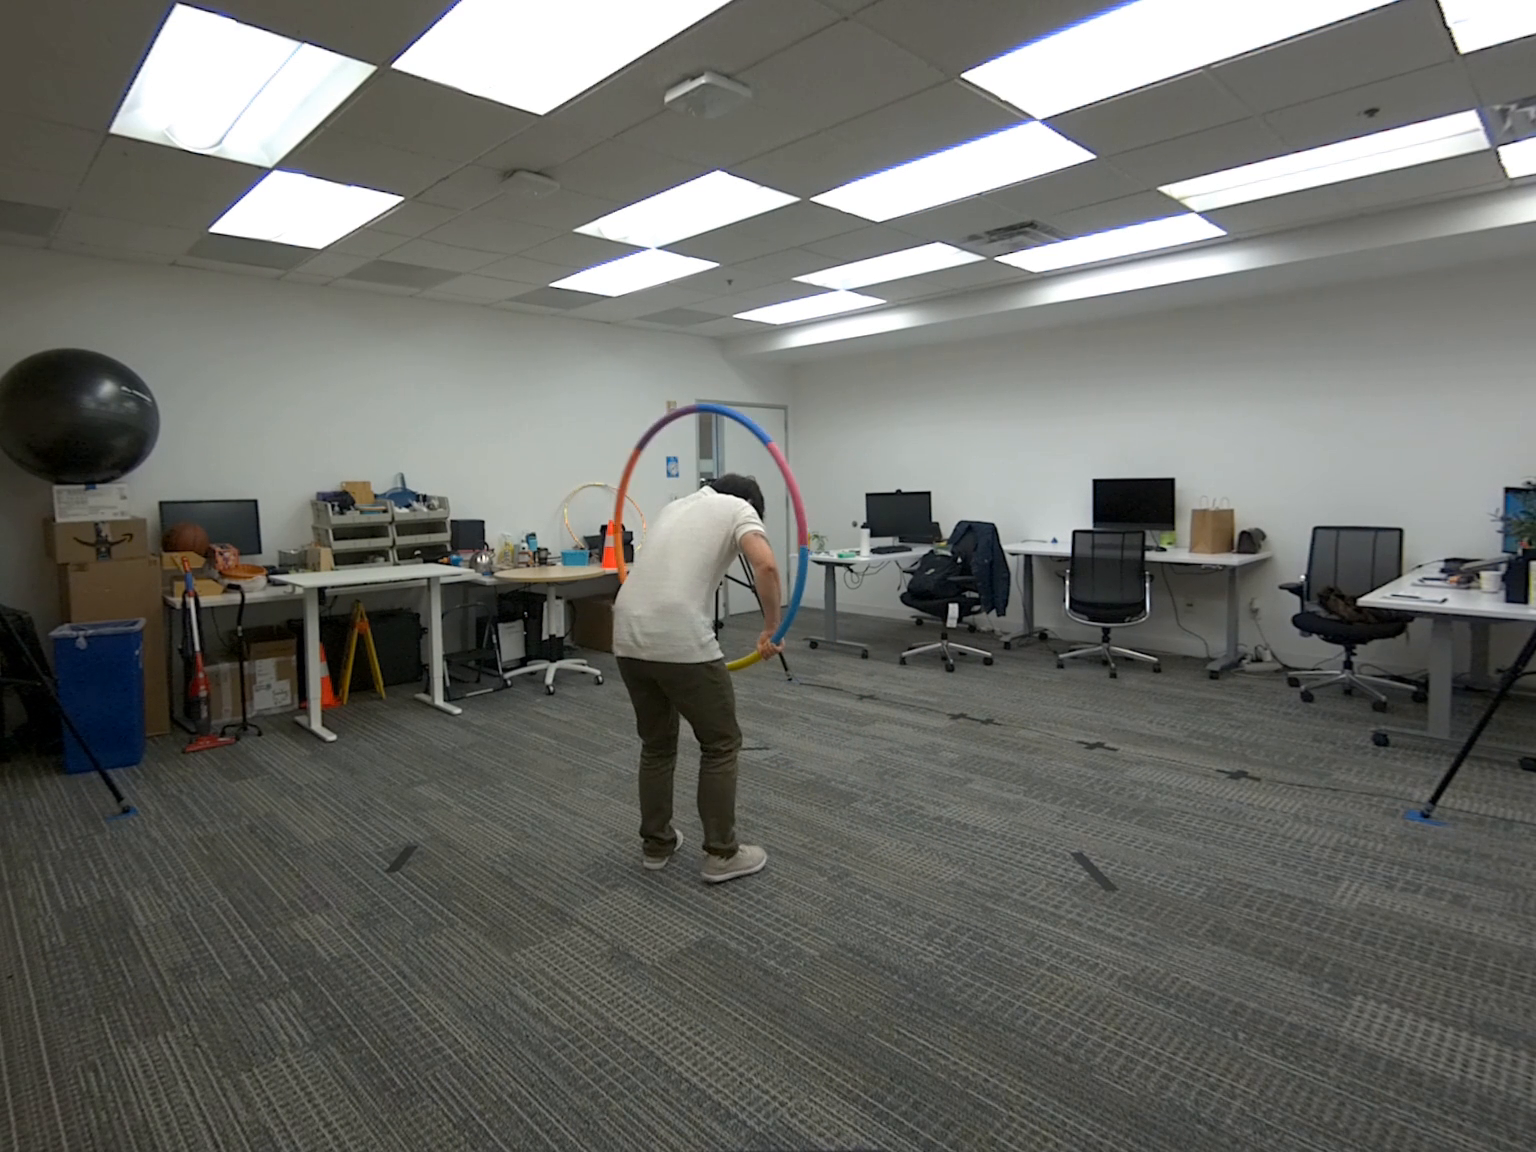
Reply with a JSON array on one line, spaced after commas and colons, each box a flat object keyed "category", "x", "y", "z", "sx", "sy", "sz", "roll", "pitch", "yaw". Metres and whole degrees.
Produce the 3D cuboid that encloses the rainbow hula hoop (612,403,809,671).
[{"category": "rainbow hula hoop", "x": -0.232, "y": -0.115, "z": 3.137, "sx": 1.009, "sy": 0.975, "sz": 0.034, "roll": 3, "pitch": 5, "yaw": 42}]
